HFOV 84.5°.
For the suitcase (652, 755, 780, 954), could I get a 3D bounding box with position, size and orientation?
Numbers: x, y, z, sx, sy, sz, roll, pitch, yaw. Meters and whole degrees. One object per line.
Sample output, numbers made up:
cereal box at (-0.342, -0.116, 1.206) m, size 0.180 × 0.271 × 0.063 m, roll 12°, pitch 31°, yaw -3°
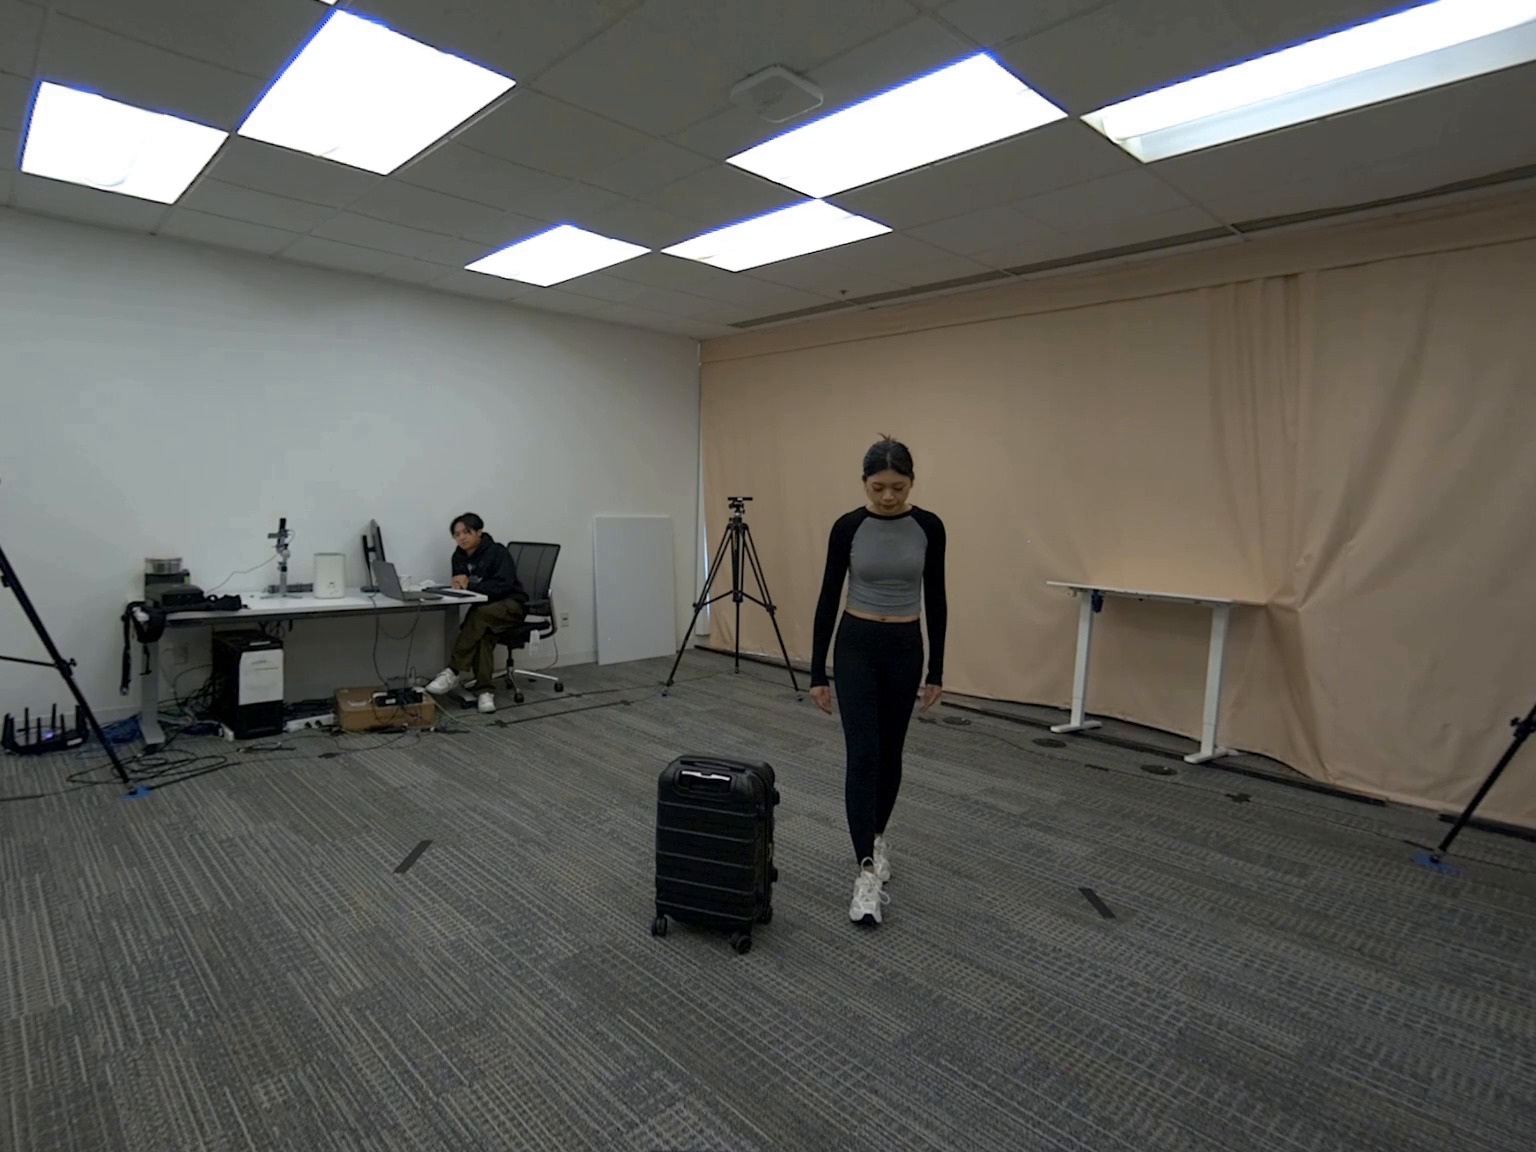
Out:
suitcase at (-0.174, 0.864, 2.732) m, size 0.381 × 0.549 × 0.245 m, roll 2°, pitch 2°, yaw 20°
